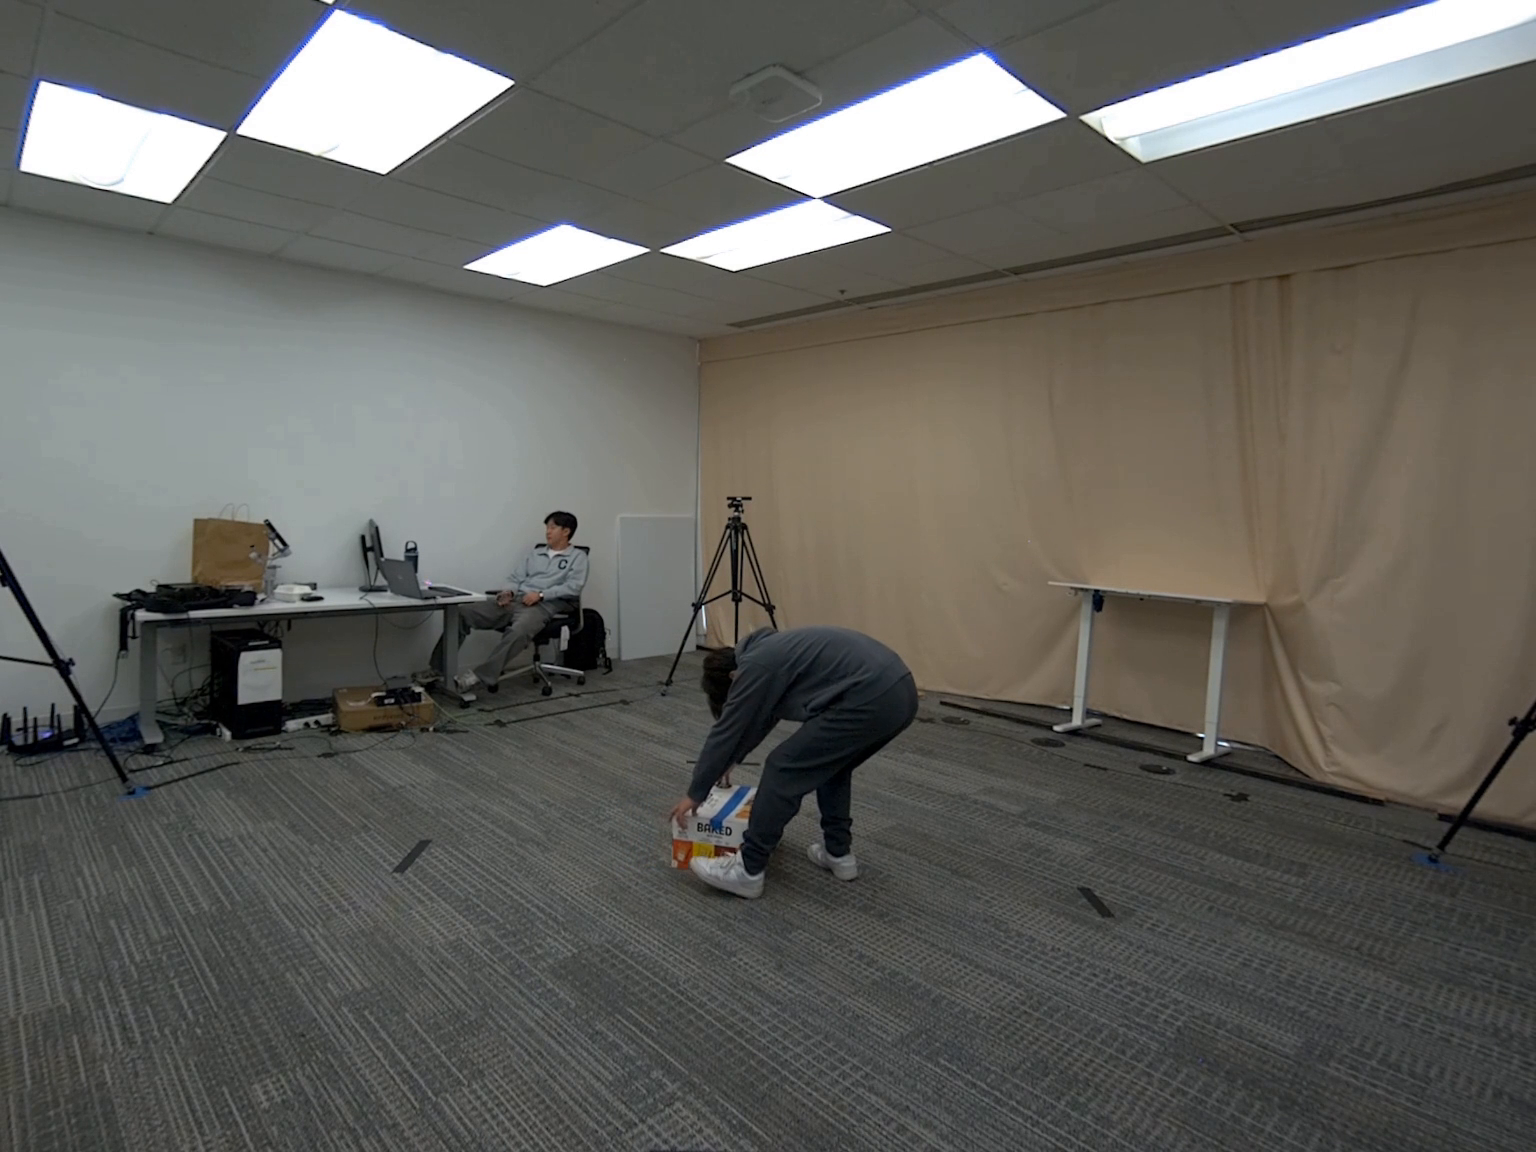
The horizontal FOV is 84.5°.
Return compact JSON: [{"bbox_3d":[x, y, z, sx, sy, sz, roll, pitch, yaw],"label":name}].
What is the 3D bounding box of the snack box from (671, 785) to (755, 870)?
[{"bbox_3d":[-0.158,0.991,3.301,0.345,0.205,0.401,3,5,15],"label":"snack box"}]
